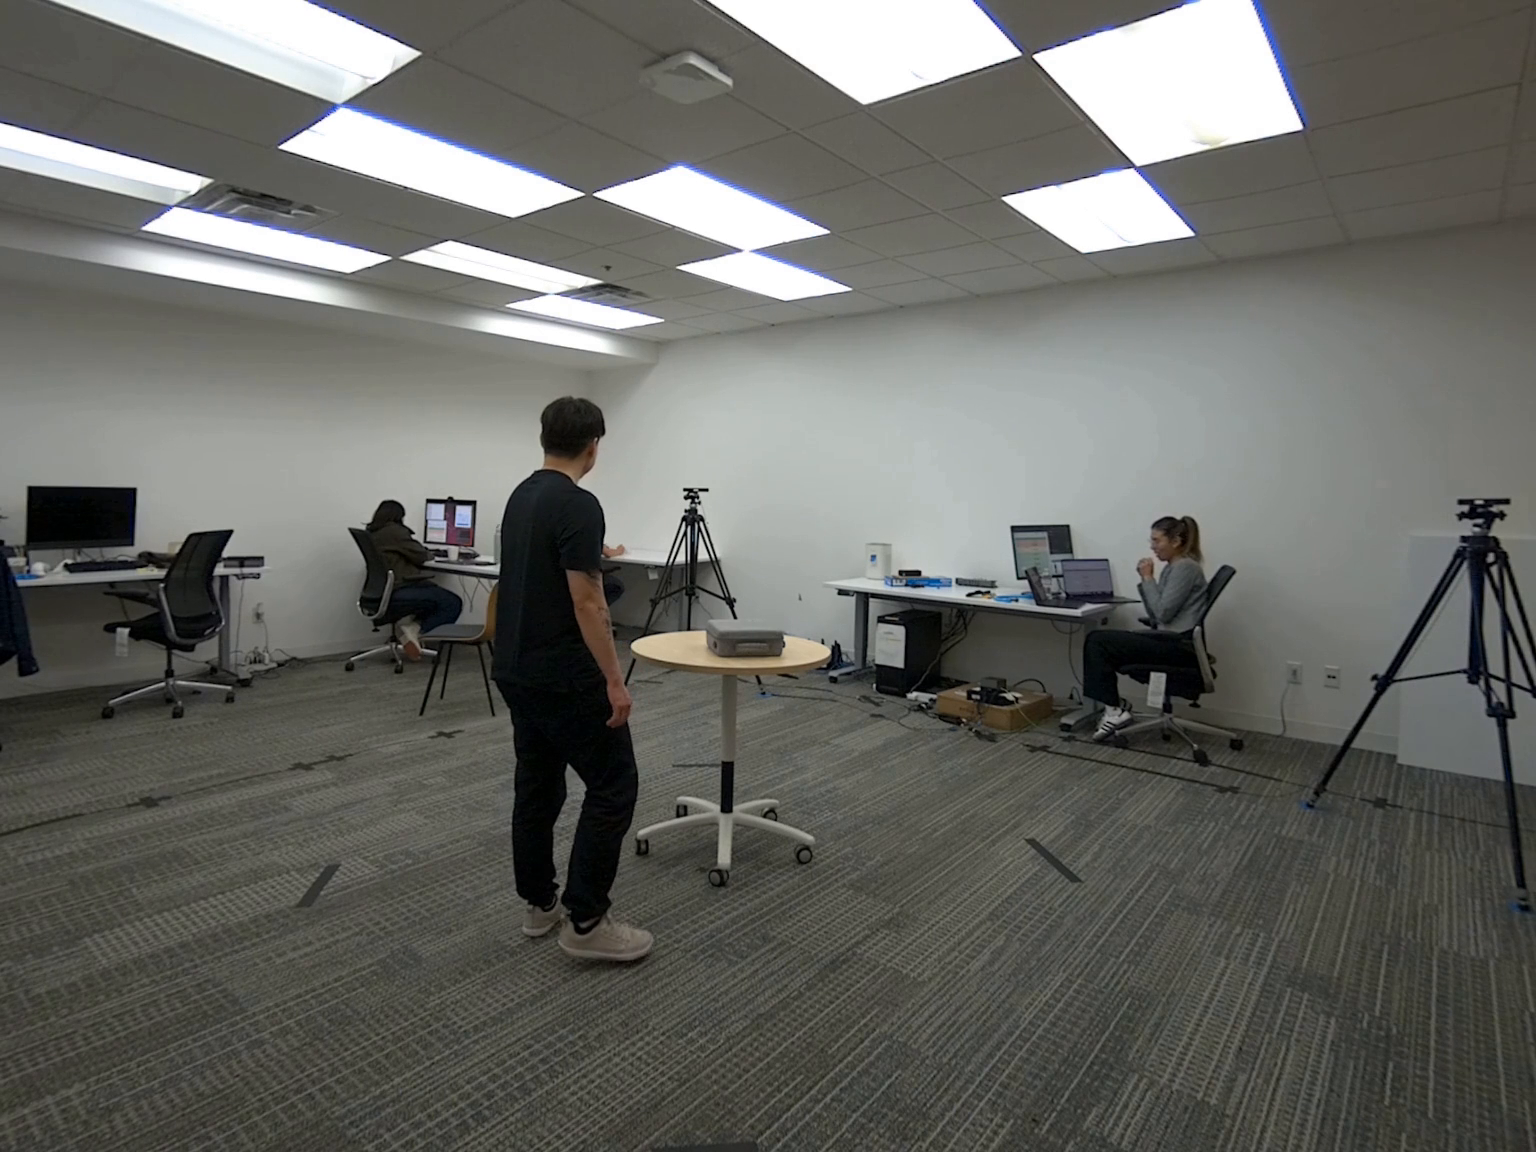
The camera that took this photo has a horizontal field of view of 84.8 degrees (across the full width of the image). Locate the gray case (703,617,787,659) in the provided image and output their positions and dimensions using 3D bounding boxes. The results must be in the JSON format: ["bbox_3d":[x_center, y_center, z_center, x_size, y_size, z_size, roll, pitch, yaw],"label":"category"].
[{"bbox_3d":[-0.095,0.230,3.183,0.253,0.104,0.265,2,5,-13],"label":"gray case"}]
